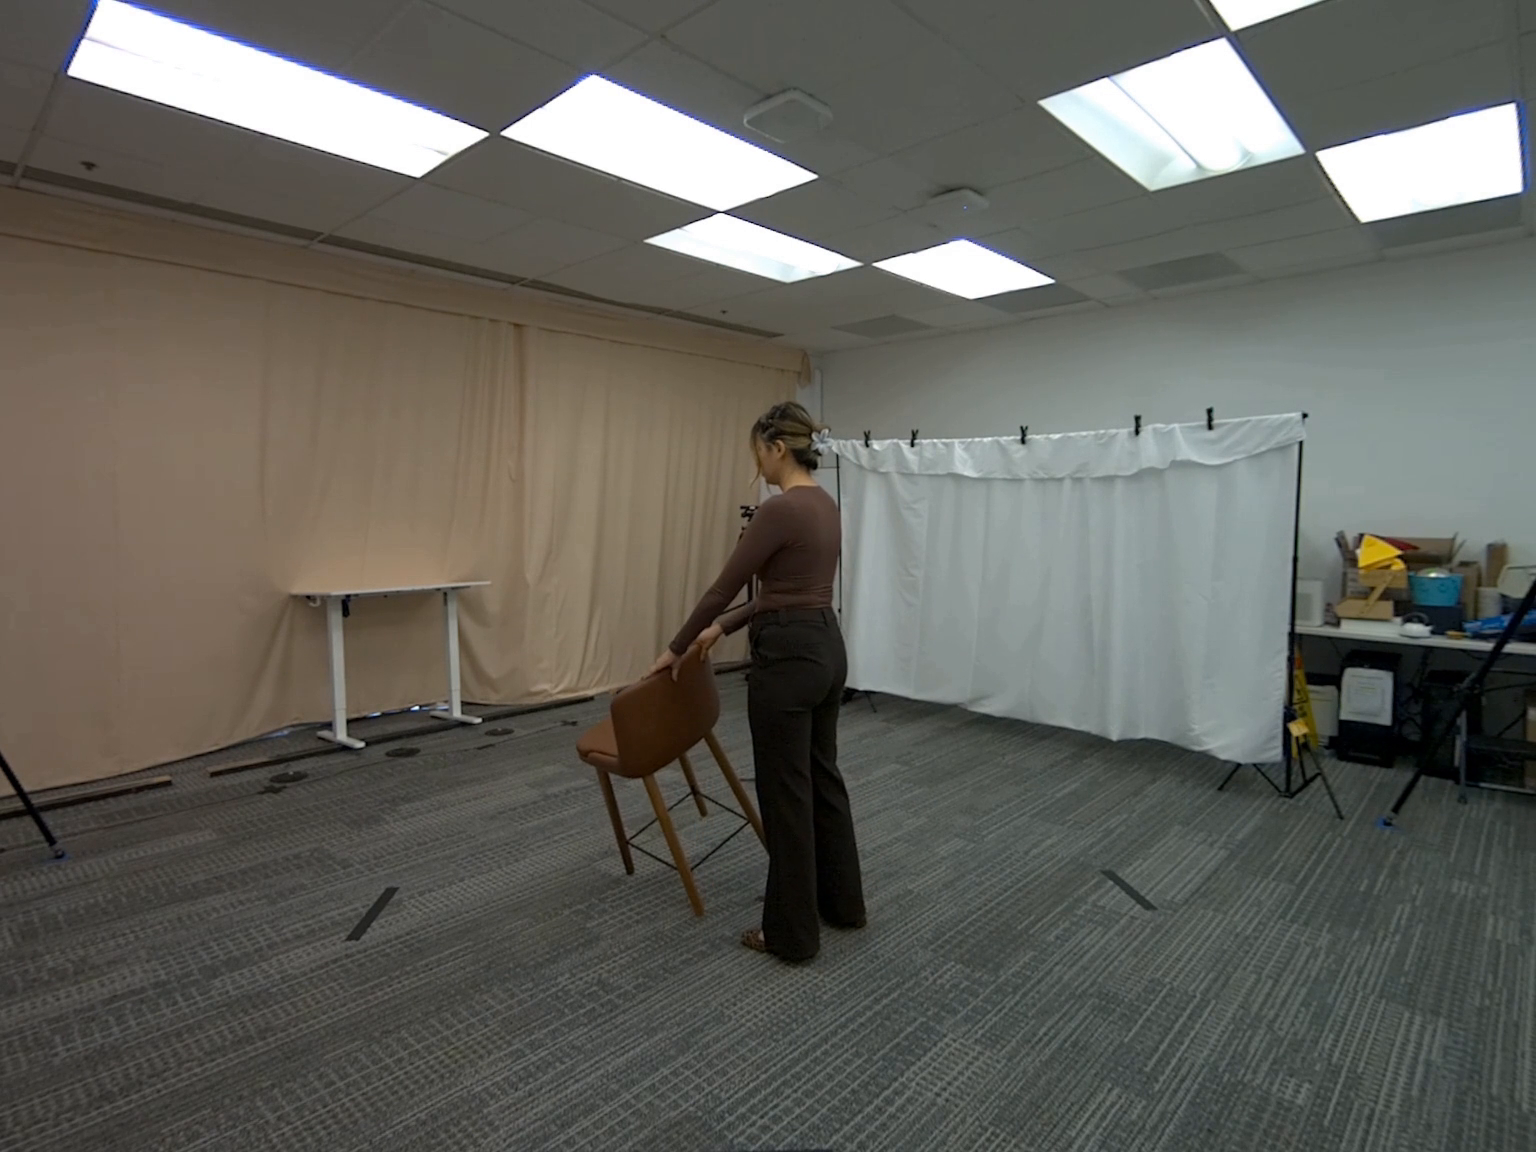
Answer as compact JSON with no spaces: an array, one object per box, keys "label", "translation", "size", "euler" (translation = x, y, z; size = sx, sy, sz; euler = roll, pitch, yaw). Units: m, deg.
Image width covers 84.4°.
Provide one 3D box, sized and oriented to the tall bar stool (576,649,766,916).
[{"label":"tall bar stool","translation":[-0.371,0.672,3.003],"size":[0.449,0.875,0.483],"euler":[-30,23,-34]}]
